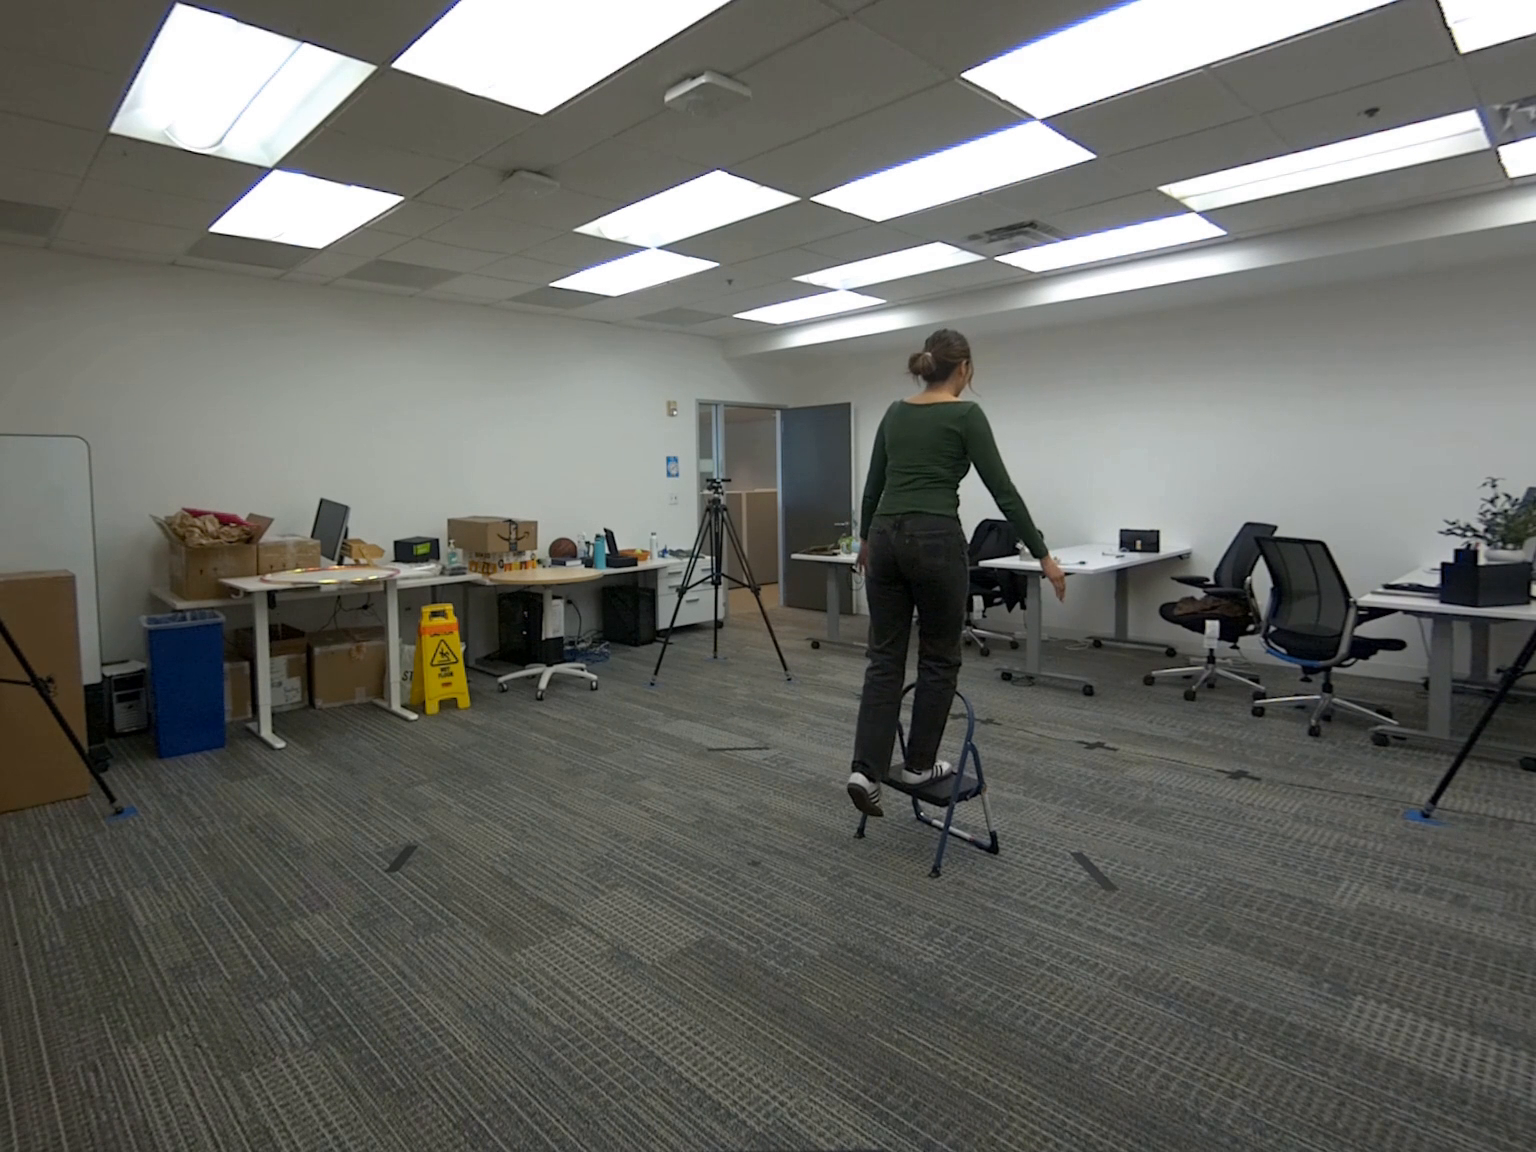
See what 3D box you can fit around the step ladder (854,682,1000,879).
[{"bbox_3d":[0.595,0.718,3.218,0.340,0.604,0.443,-3,5,-34],"label":"step ladder"}]
